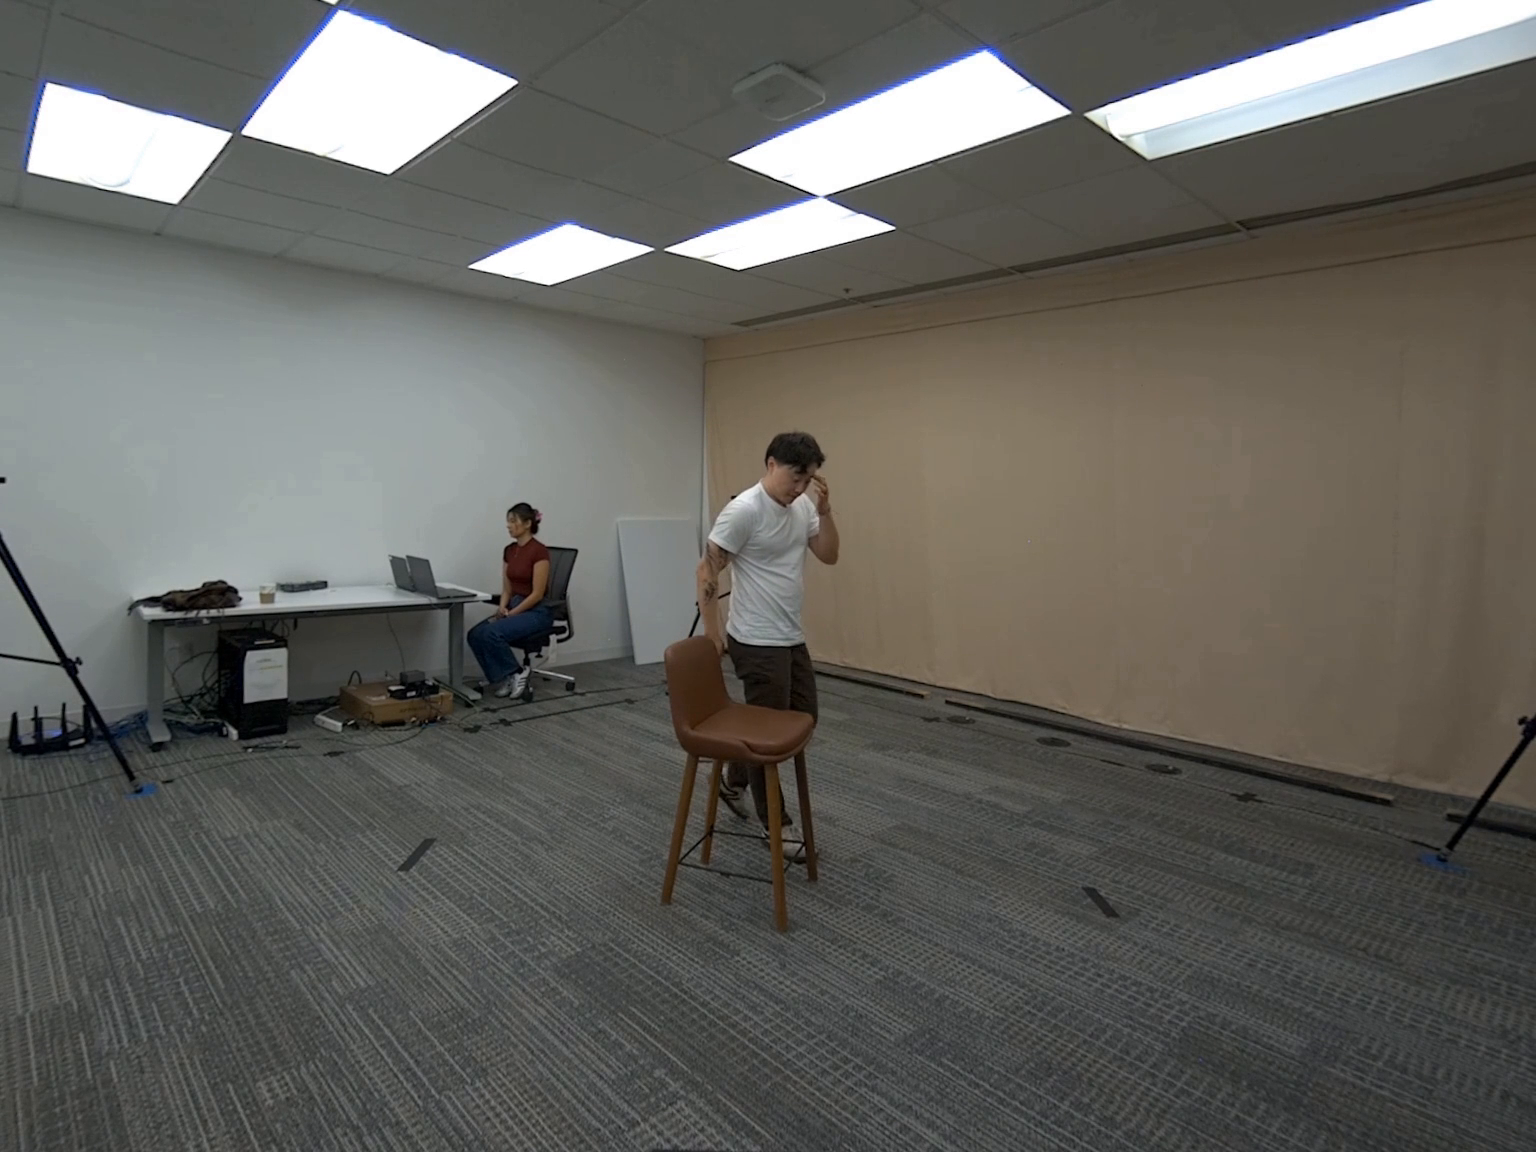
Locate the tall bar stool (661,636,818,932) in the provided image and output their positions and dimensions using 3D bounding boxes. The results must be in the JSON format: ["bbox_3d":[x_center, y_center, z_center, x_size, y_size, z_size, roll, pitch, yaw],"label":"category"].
[{"bbox_3d":[-0.099,0.686,2.940,0.475,0.888,0.450,1,3,21],"label":"tall bar stool"}]
